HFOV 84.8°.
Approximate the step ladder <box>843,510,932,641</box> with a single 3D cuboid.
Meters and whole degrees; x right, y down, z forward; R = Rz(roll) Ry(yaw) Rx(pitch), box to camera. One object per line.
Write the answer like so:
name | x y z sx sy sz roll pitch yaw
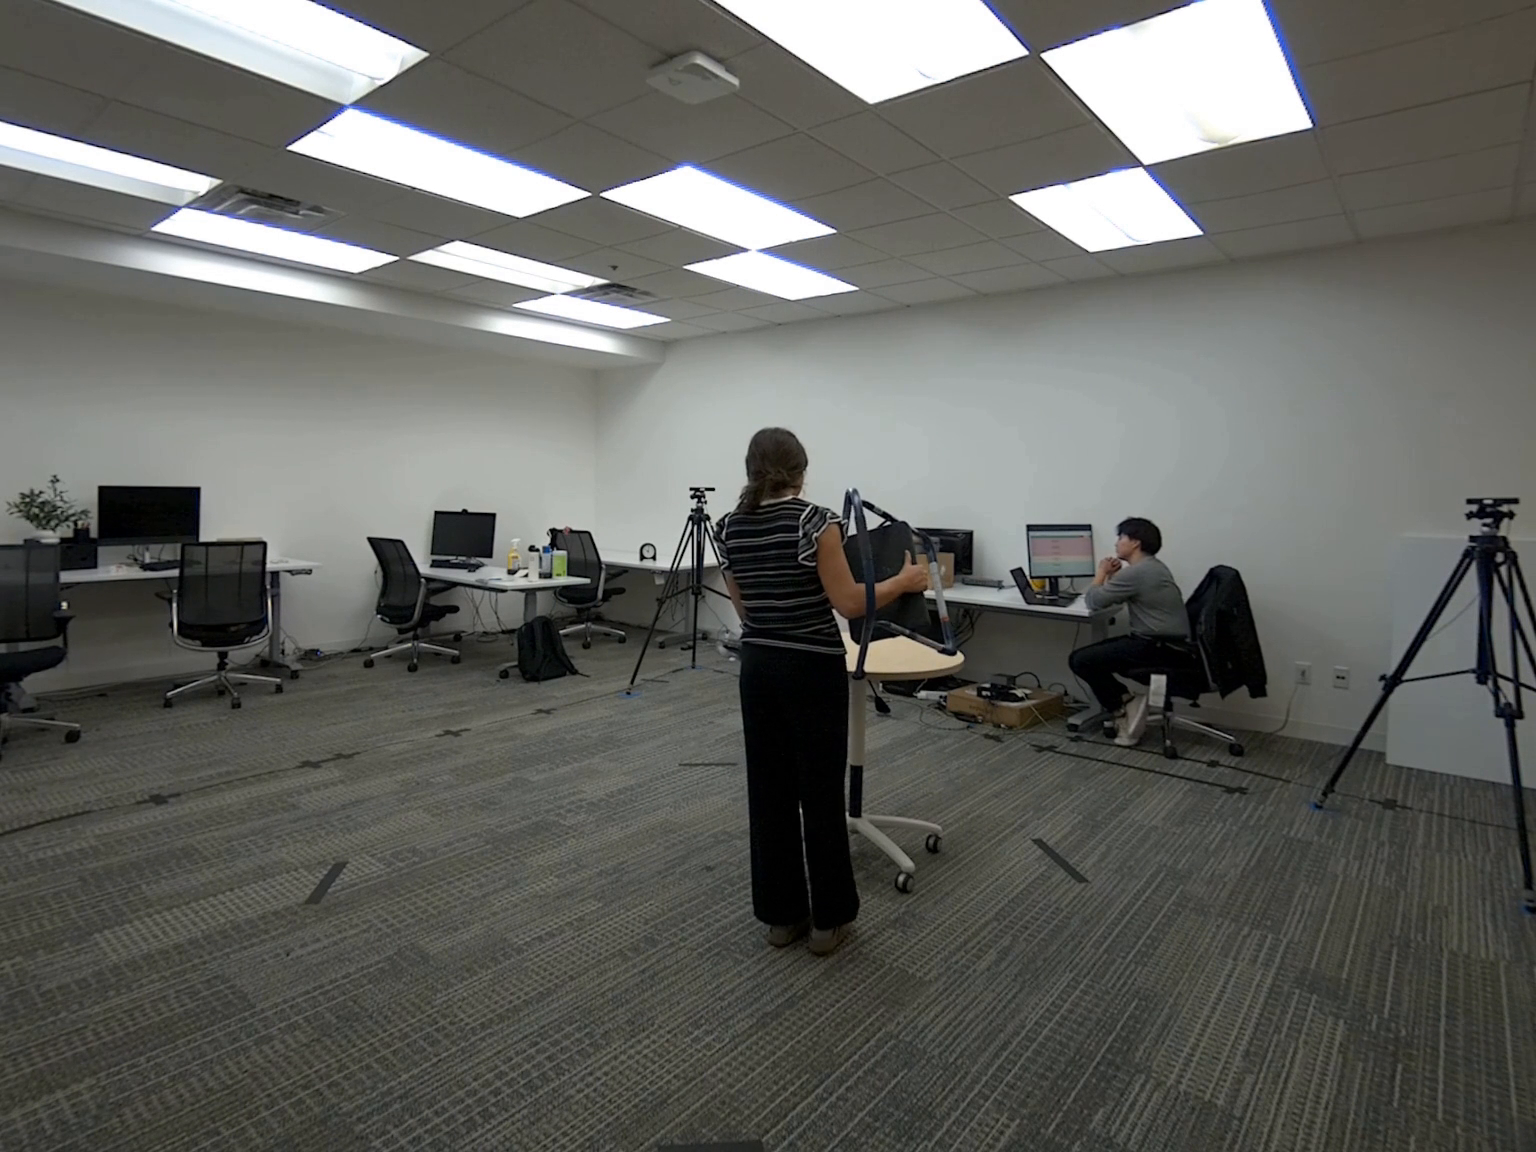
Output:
step ladder | 0.306 0.004 2.588 0.354 0.441 0.583 -16 -26 19
